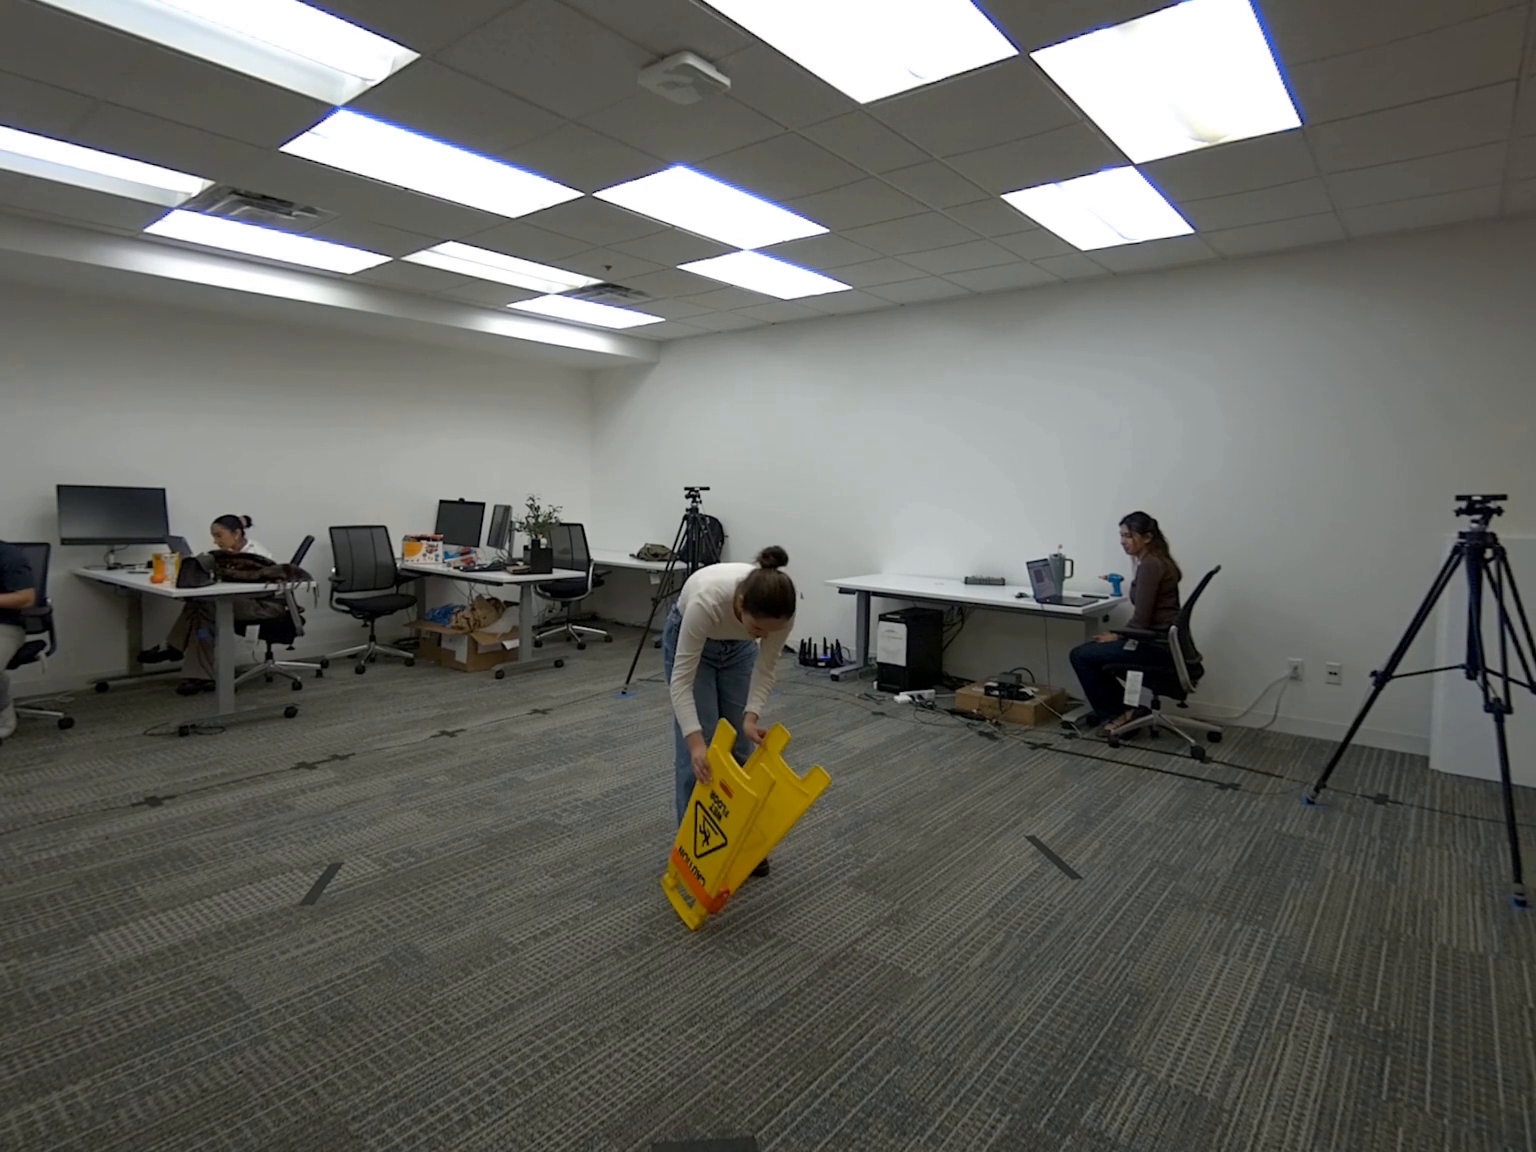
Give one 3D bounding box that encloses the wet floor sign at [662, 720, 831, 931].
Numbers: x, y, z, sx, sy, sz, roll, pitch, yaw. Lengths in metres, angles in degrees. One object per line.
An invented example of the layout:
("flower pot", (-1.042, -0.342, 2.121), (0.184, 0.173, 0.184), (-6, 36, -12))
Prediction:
("wet floor sign", (-0.132, 0.795, 2.664), (0.278, 0.643, 0.294), (17, 19, -45))
